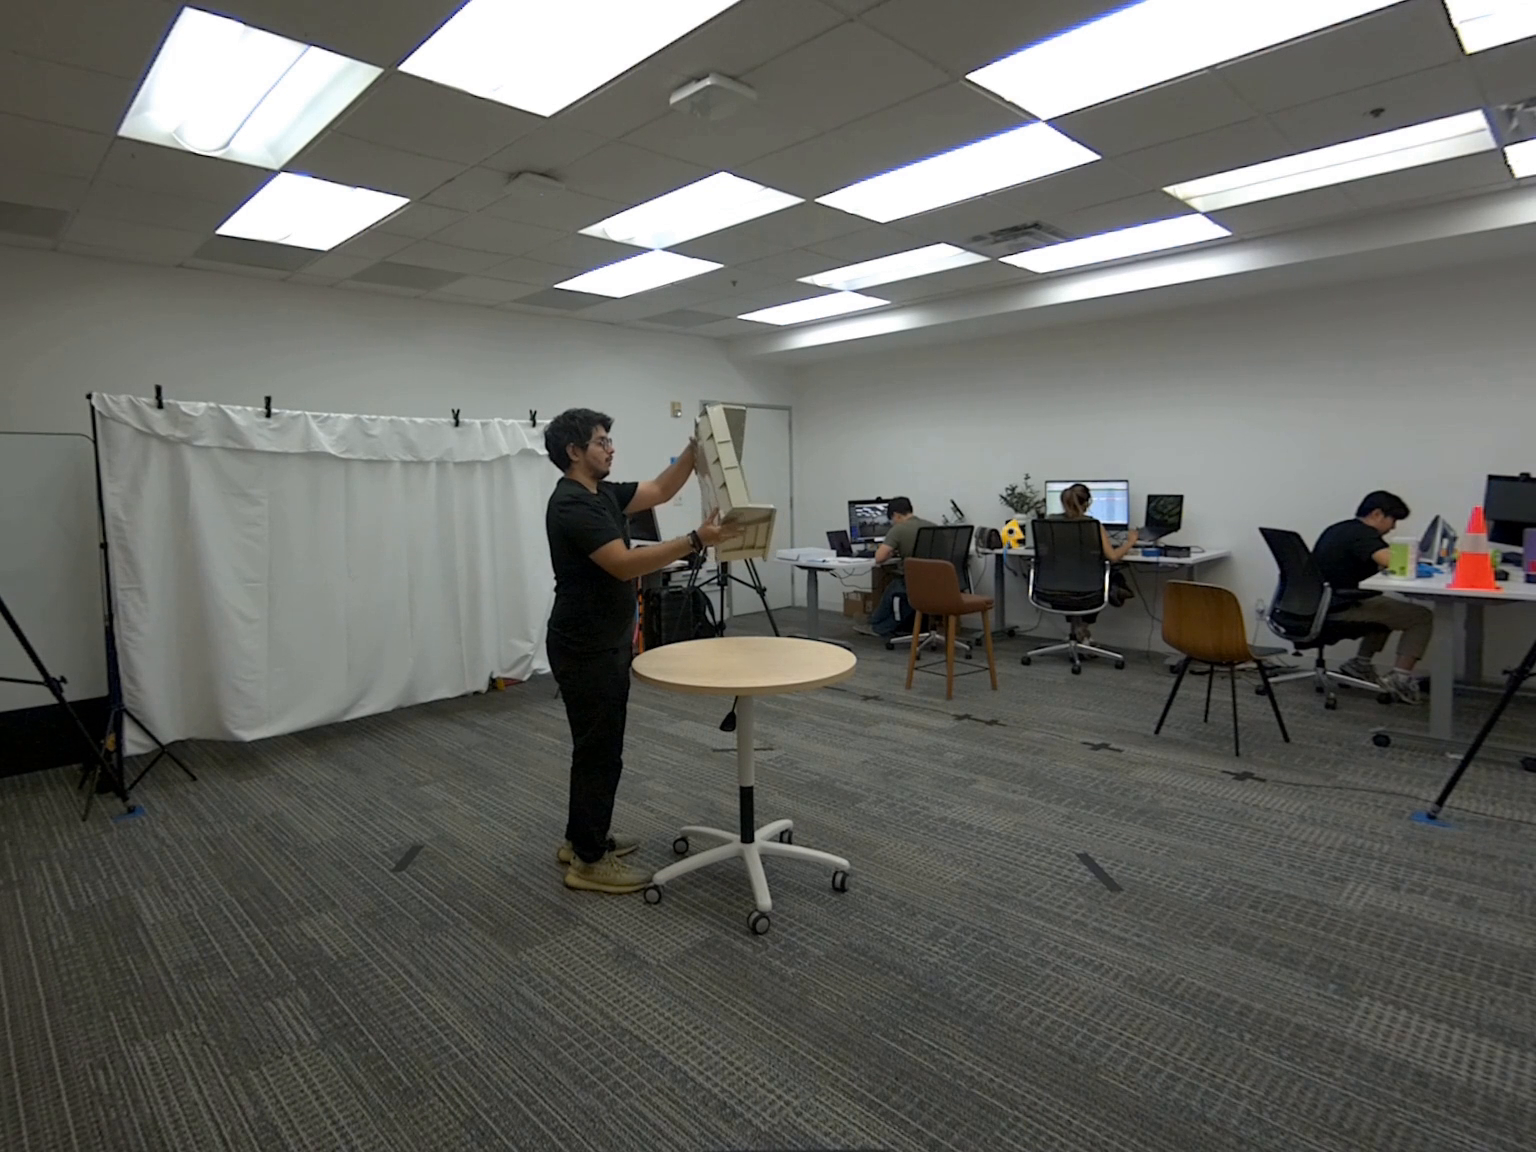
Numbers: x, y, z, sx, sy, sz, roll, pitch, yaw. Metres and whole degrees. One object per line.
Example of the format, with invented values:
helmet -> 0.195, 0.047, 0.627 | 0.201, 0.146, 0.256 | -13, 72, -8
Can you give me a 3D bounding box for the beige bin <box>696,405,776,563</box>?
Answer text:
beige bin -> -0.120, -0.300, 2.880 | 0.187, 0.434, 0.370 | -10, -28, -12
